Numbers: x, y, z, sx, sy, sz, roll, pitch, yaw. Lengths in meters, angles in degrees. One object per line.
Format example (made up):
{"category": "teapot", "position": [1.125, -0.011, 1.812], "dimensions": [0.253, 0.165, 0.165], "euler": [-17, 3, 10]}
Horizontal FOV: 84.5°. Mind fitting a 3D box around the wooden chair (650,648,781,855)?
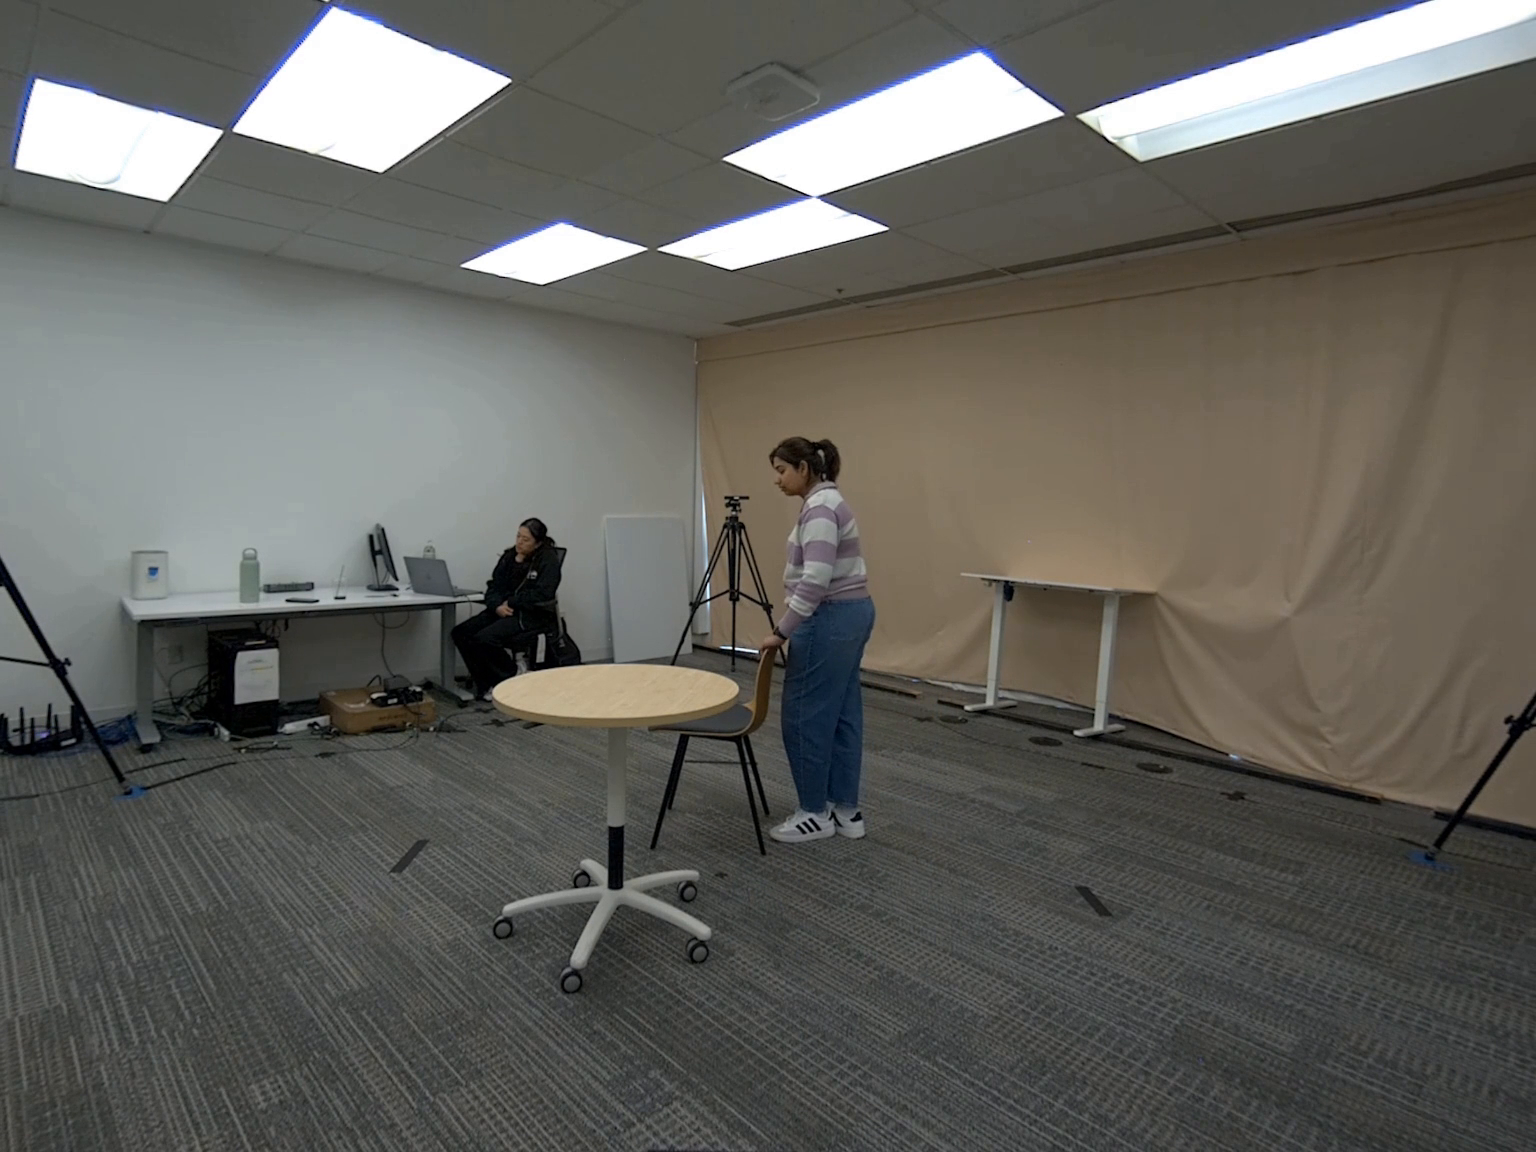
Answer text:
{"category": "wooden chair", "position": [-0.231, 0.642, 3.486], "dimensions": [0.525, 0.875, 0.477], "euler": [6, 3, 3]}
